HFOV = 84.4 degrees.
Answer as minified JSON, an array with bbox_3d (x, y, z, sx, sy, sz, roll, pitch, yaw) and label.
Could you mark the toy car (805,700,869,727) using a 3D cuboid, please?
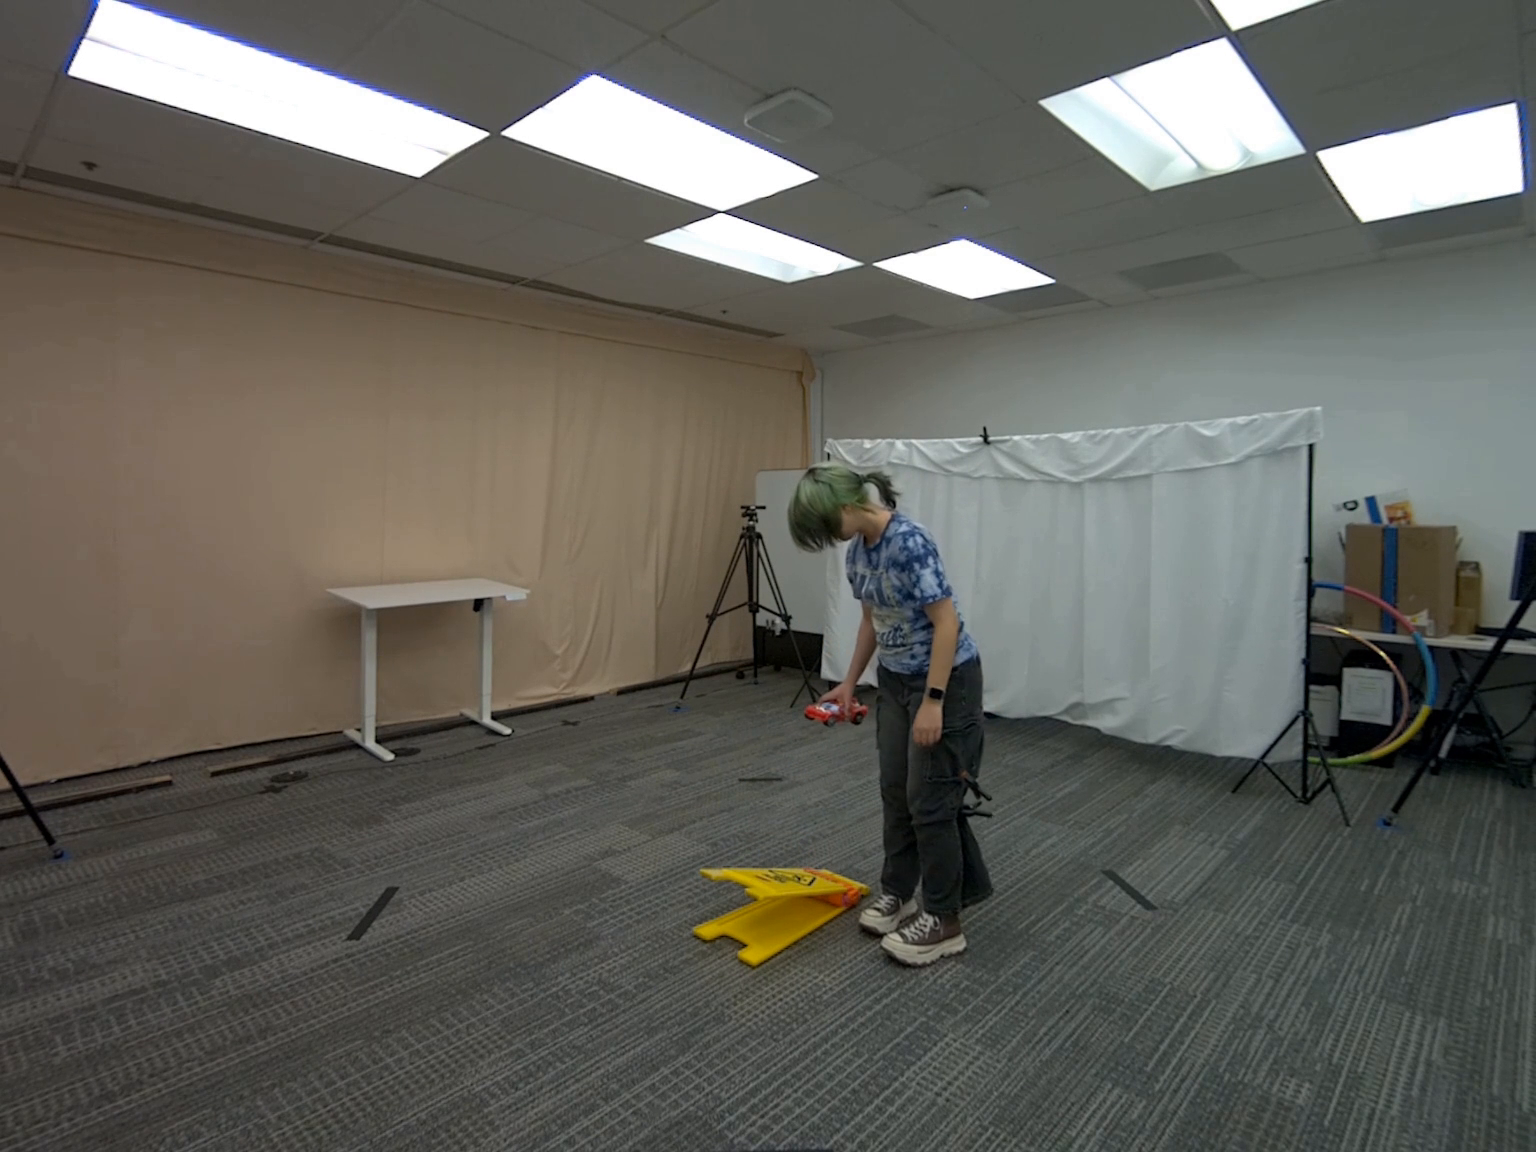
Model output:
[{"bbox_3d":[0.257,0.493,2.978,0.247,0.083,0.135,-10,13,-41],"label":"toy car"}]
